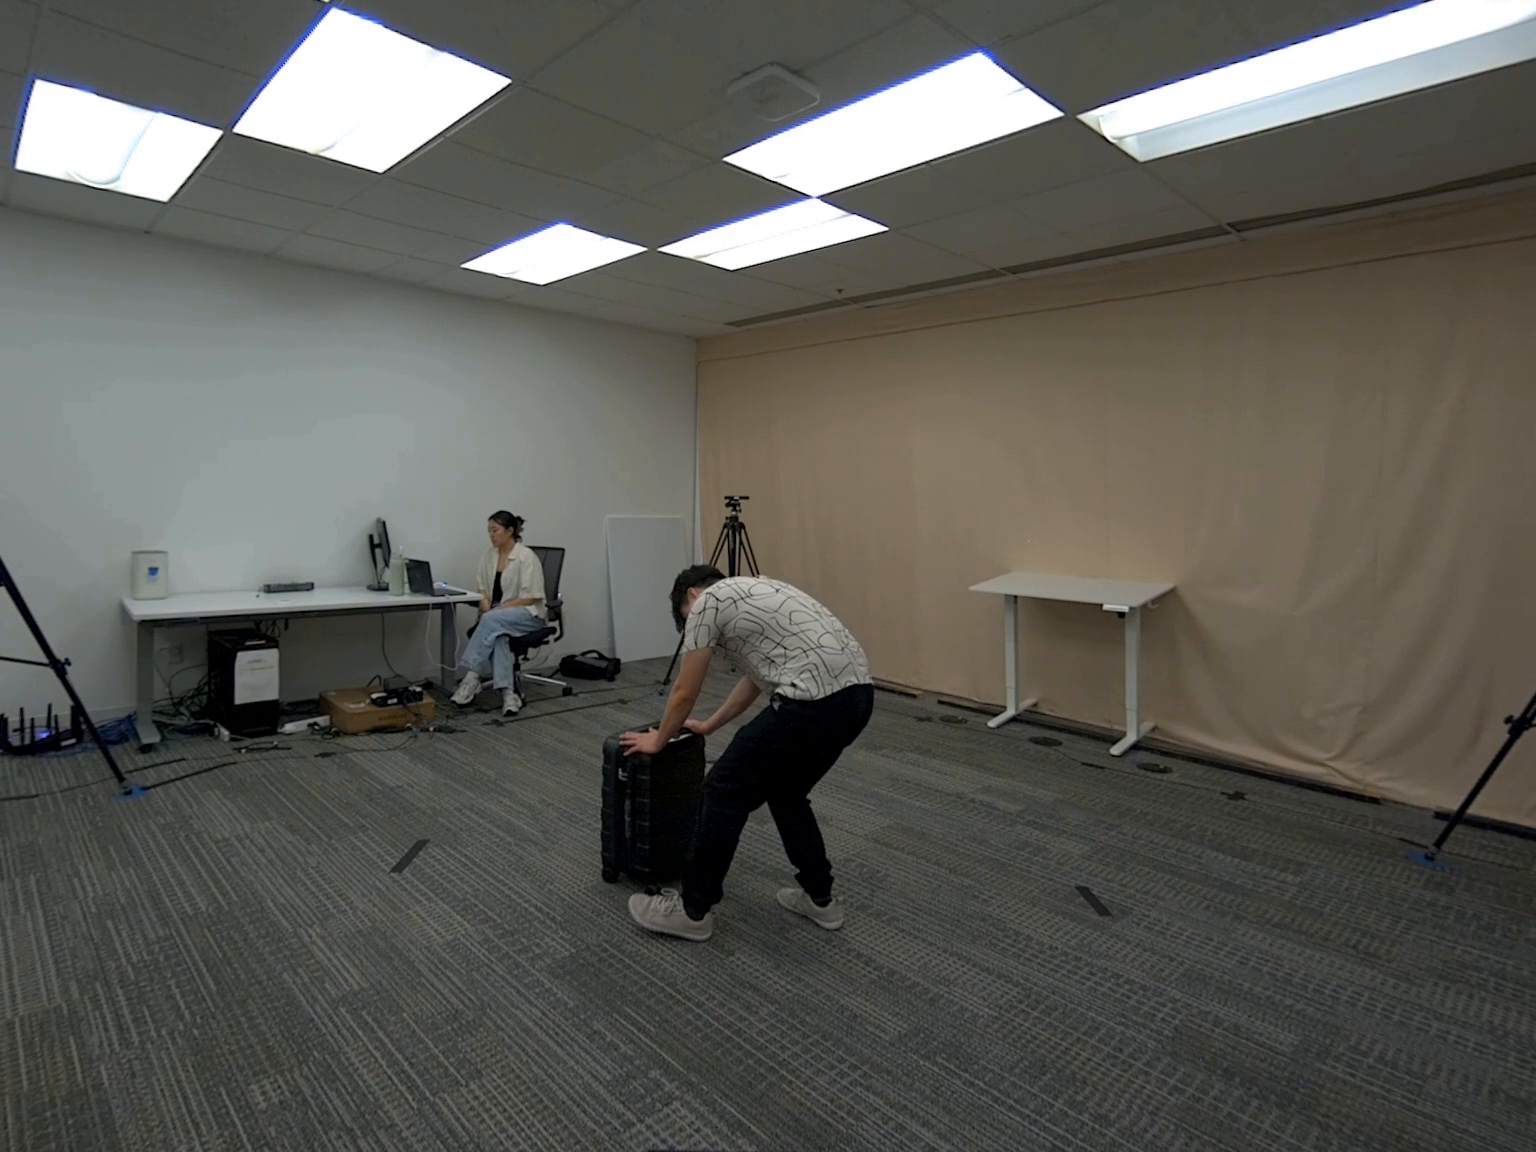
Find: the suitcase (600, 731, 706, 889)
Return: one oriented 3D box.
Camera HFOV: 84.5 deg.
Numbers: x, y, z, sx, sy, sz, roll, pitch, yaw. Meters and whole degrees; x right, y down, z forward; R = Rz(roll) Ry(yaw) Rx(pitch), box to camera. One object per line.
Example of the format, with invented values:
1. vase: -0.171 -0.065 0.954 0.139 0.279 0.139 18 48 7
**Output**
1. suitcase: -0.421 0.823 3.084 0.254 0.548 0.367 1 3 37
